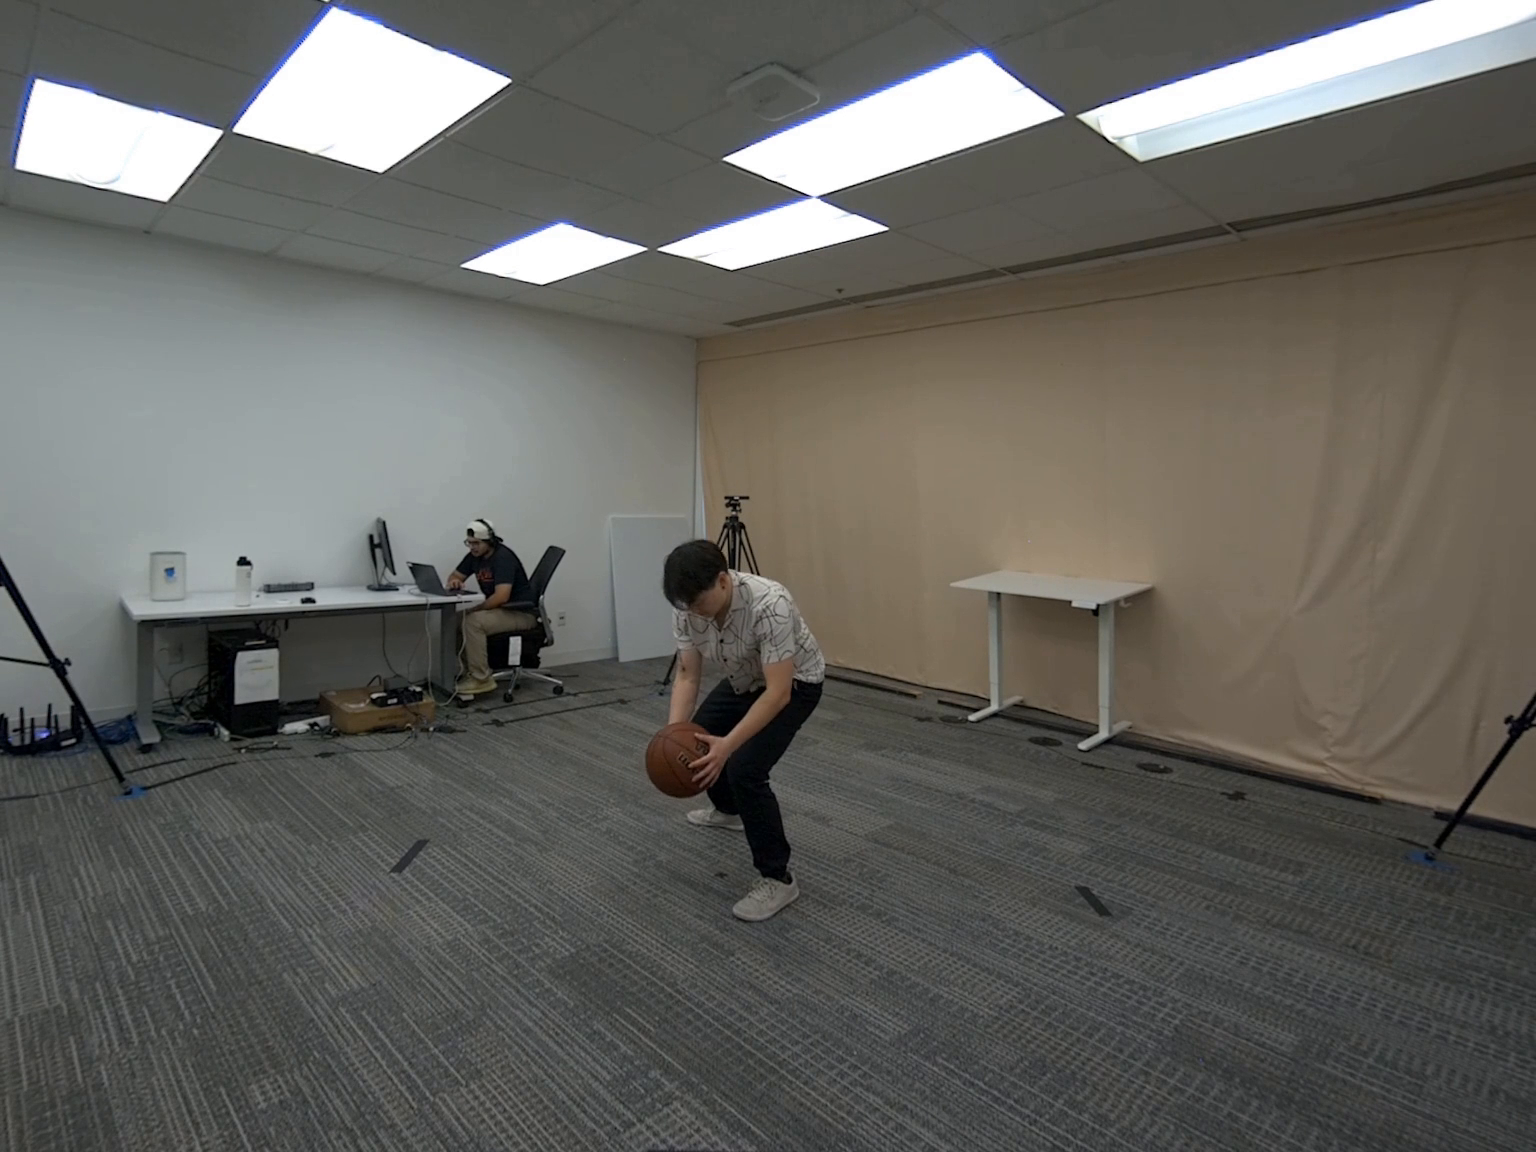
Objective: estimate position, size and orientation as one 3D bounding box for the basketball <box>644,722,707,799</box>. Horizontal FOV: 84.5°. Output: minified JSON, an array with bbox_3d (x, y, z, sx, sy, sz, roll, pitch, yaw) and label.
[{"bbox_3d":[-0.283,0.588,2.713,0.236,0.235,0.237,1,4,-1],"label":"basketball"}]
